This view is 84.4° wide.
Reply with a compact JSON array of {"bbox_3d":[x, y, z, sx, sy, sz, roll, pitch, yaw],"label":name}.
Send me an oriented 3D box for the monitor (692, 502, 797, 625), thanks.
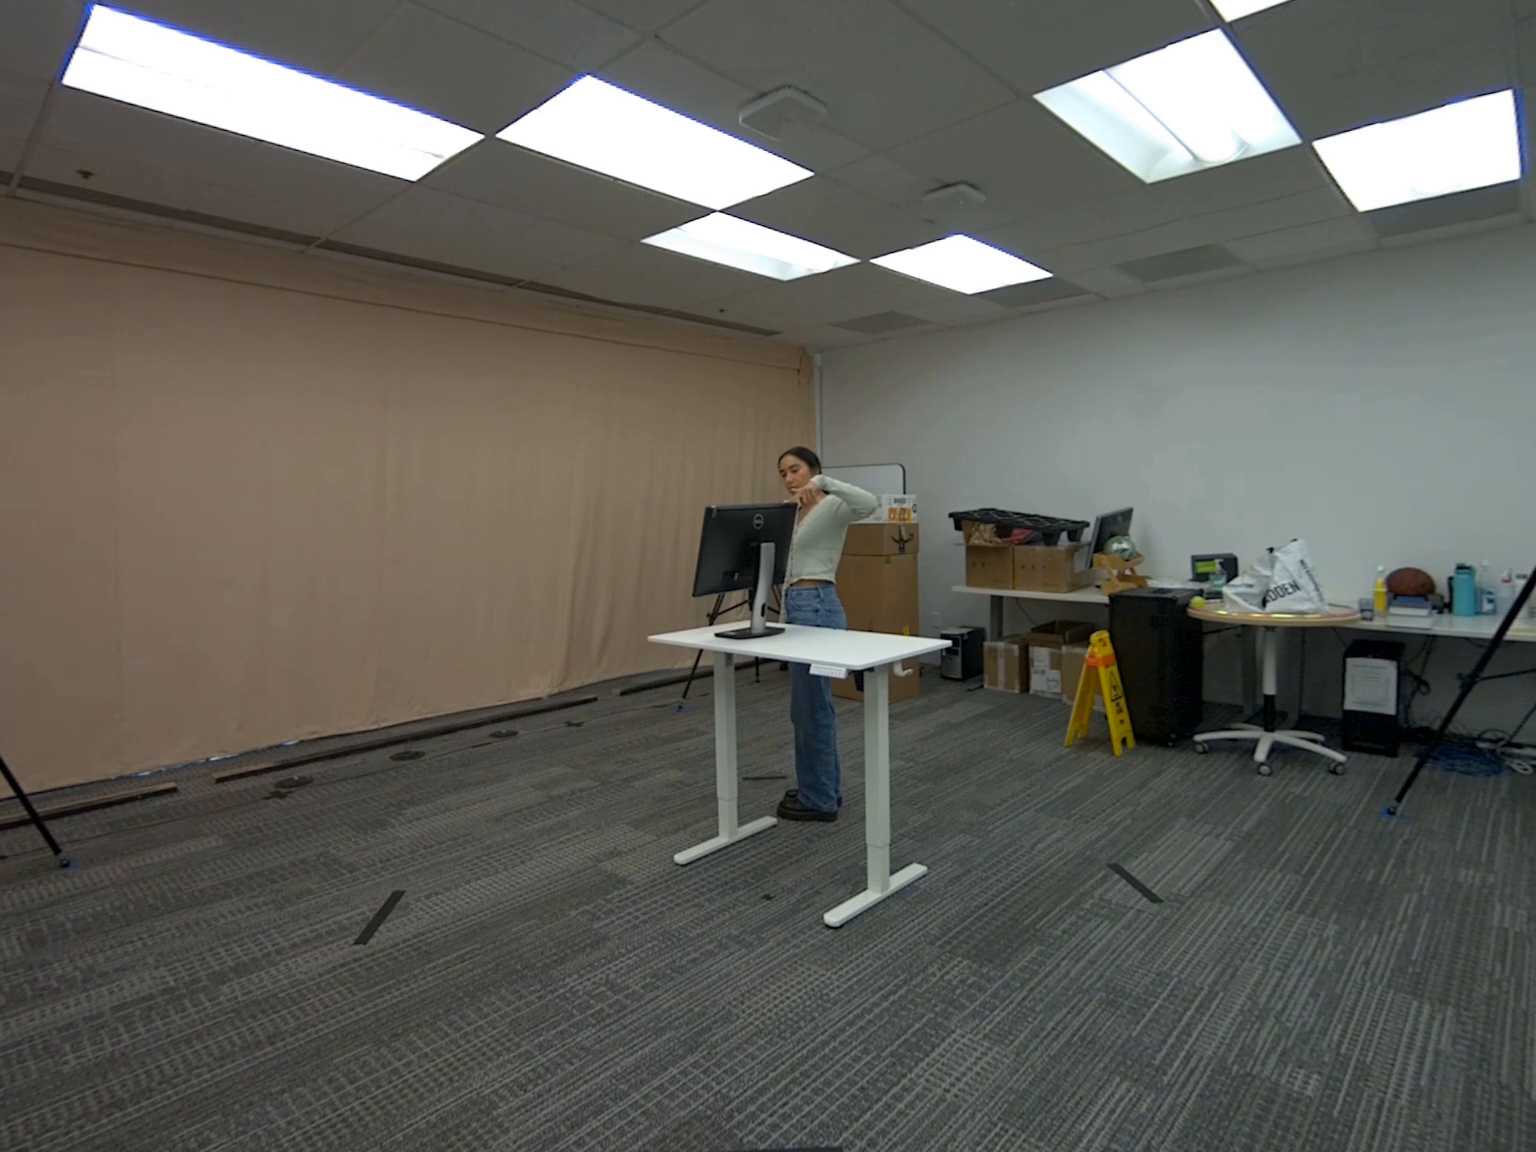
[{"bbox_3d":[-0.057,-0.019,3.305,0.193,0.521,0.523,4,7,40],"label":"monitor"}]
